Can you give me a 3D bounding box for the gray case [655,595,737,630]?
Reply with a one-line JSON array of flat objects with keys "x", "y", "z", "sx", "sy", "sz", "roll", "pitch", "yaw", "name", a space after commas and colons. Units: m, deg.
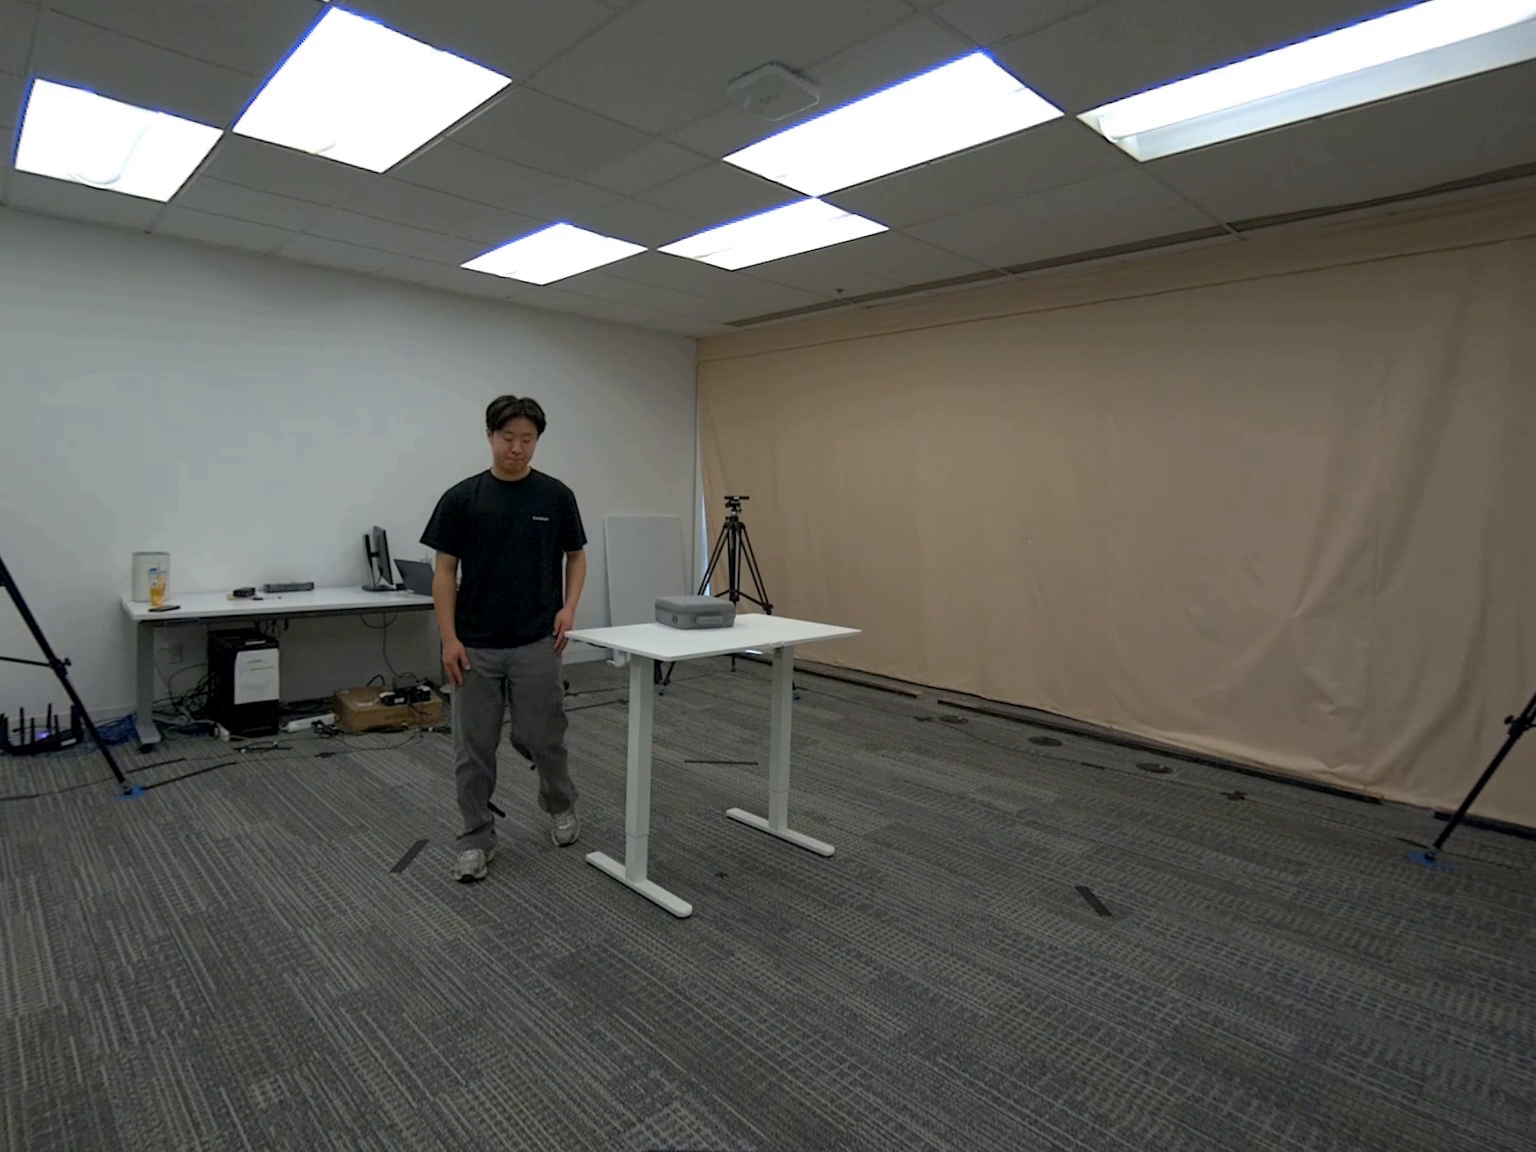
[{"x": -0.298, "y": 0.142, "z": 3.357, "sx": 0.251, "sy": 0.104, "sz": 0.267, "roll": 0, "pitch": 5, "yaw": -32, "name": "gray case"}]
